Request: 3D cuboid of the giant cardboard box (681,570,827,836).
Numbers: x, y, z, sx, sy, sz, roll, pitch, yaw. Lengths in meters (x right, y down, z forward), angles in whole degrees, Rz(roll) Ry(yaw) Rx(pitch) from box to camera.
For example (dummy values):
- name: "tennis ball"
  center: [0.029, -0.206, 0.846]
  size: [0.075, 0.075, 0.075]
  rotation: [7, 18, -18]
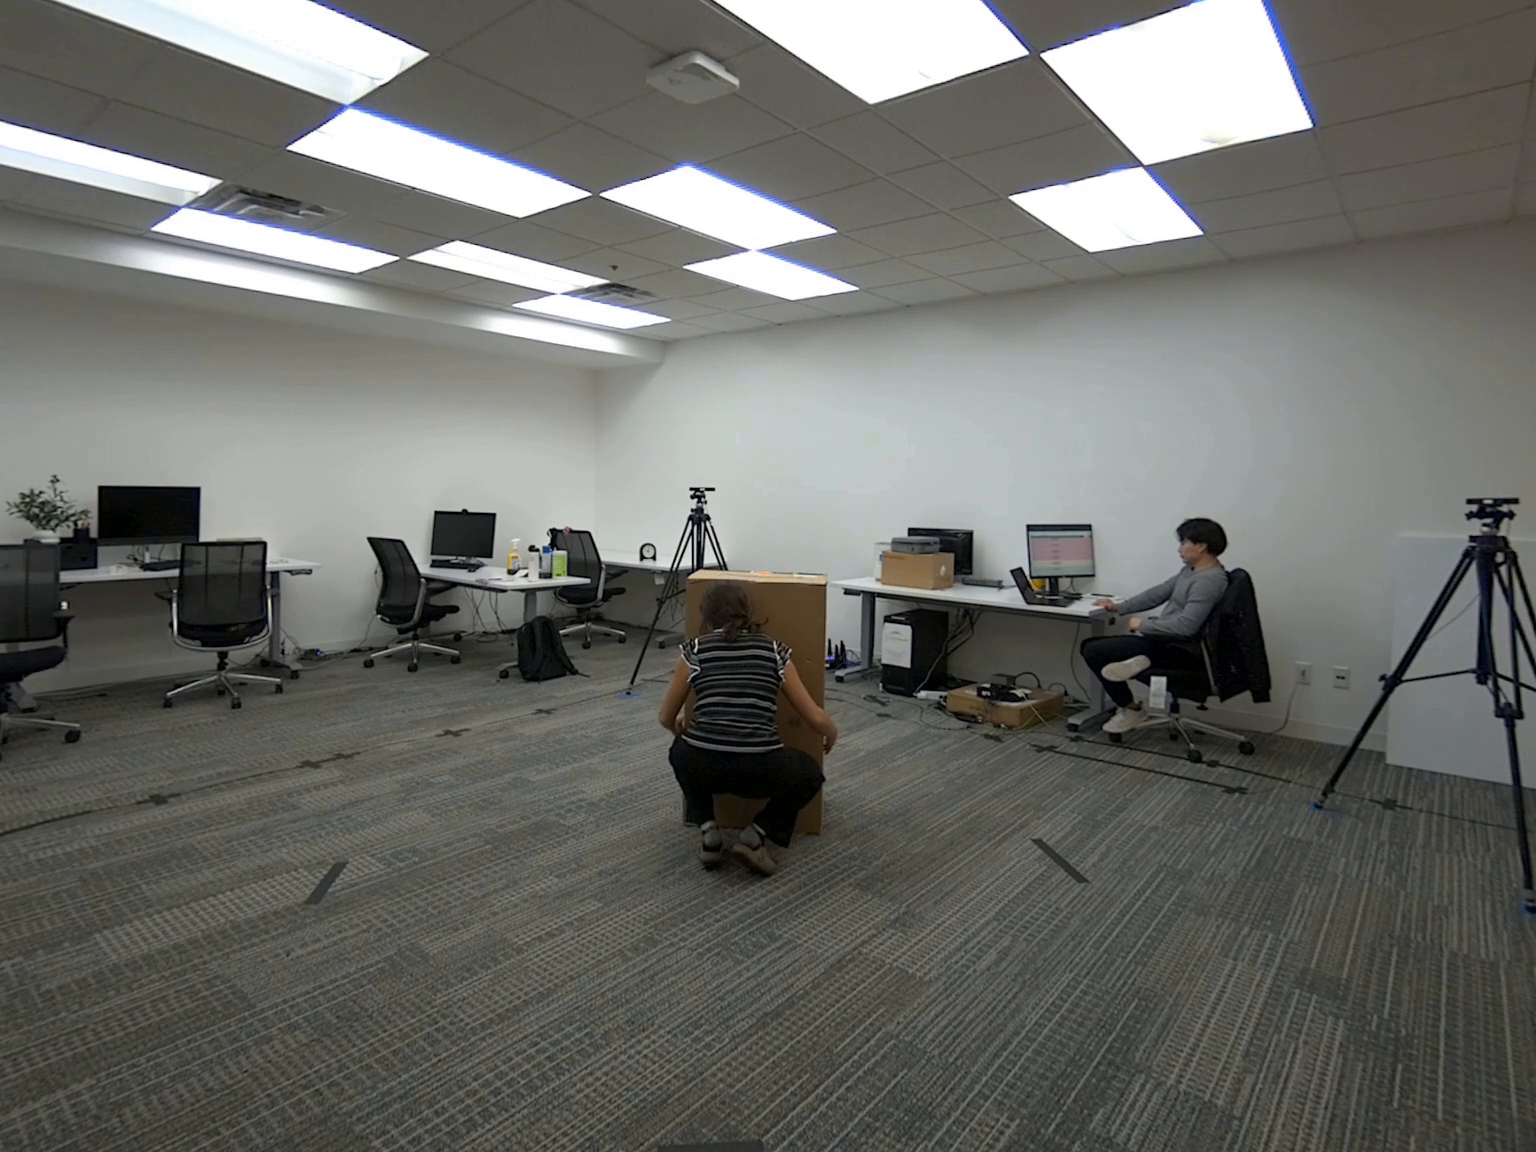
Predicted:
- name: "giant cardboard box"
  center: [-0.058, 0.507, 3.663]
  size: [0.581, 1.024, 0.425]
  rotation: [1, 2, 4]
